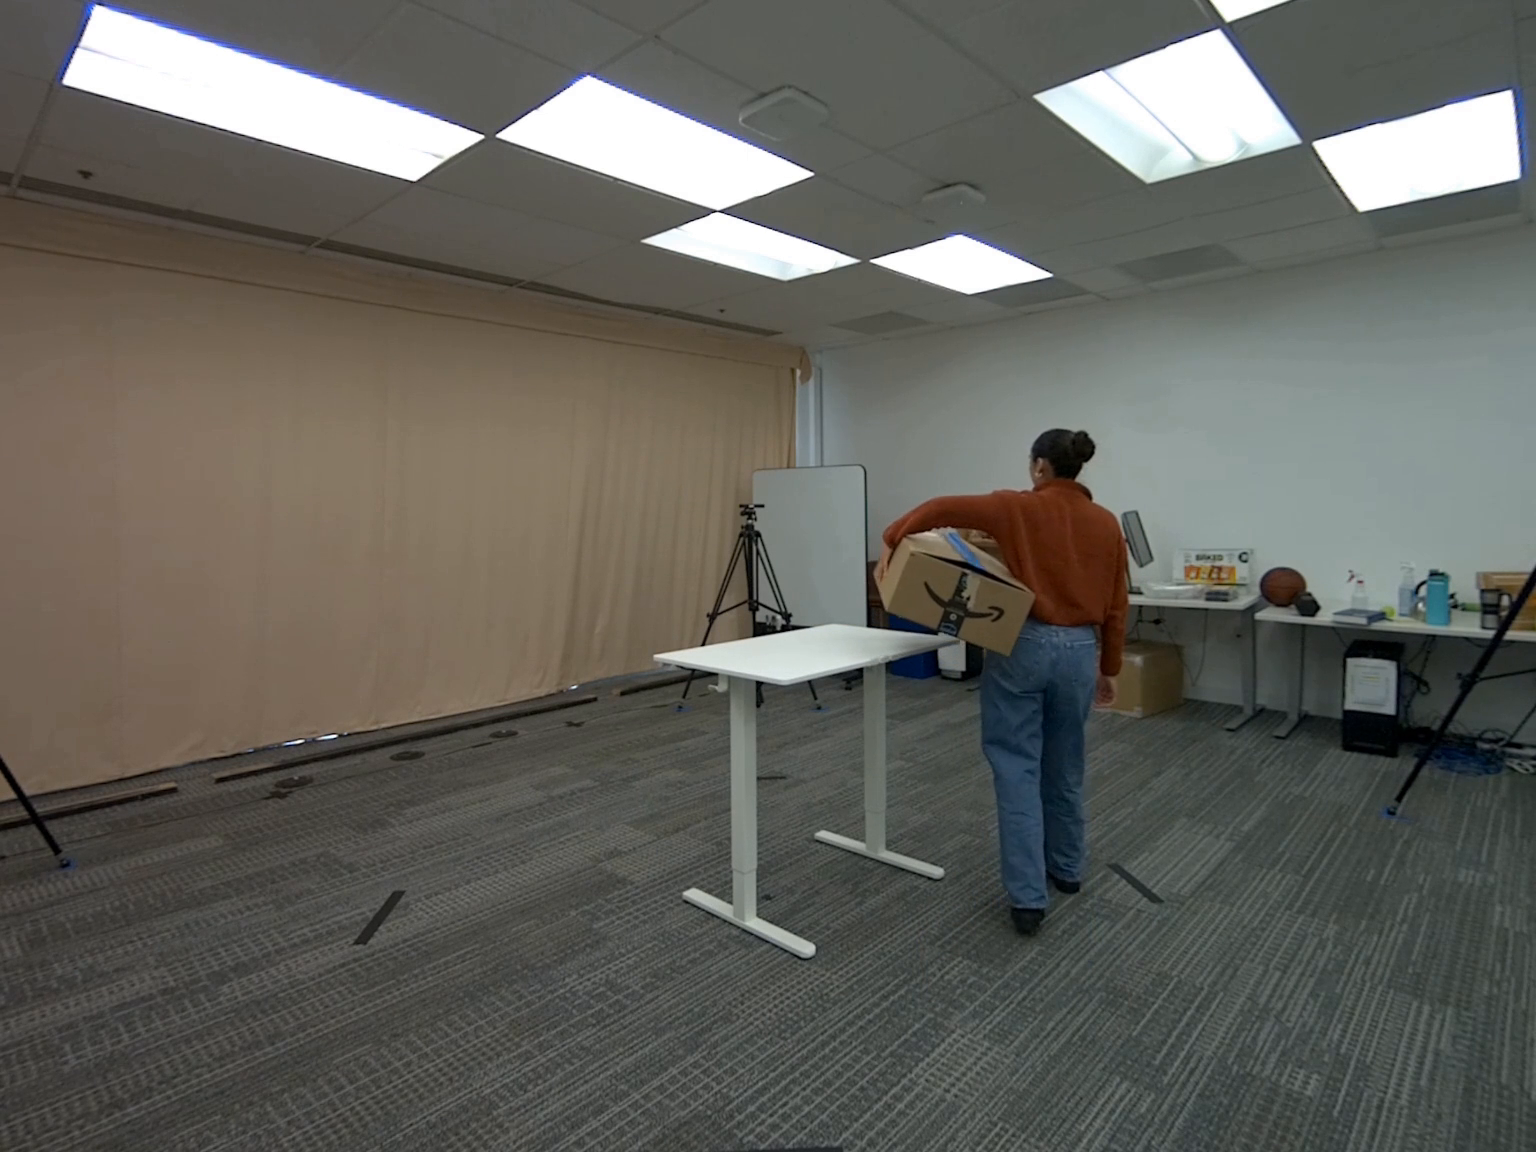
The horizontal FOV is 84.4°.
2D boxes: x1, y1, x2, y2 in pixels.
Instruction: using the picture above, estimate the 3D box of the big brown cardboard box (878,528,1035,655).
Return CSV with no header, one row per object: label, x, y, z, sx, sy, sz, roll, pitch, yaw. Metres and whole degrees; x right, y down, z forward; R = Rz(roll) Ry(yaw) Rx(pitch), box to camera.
big brown cardboard box,0.635,0.017,2.931,0.418,0.232,0.591,18,14,-1
